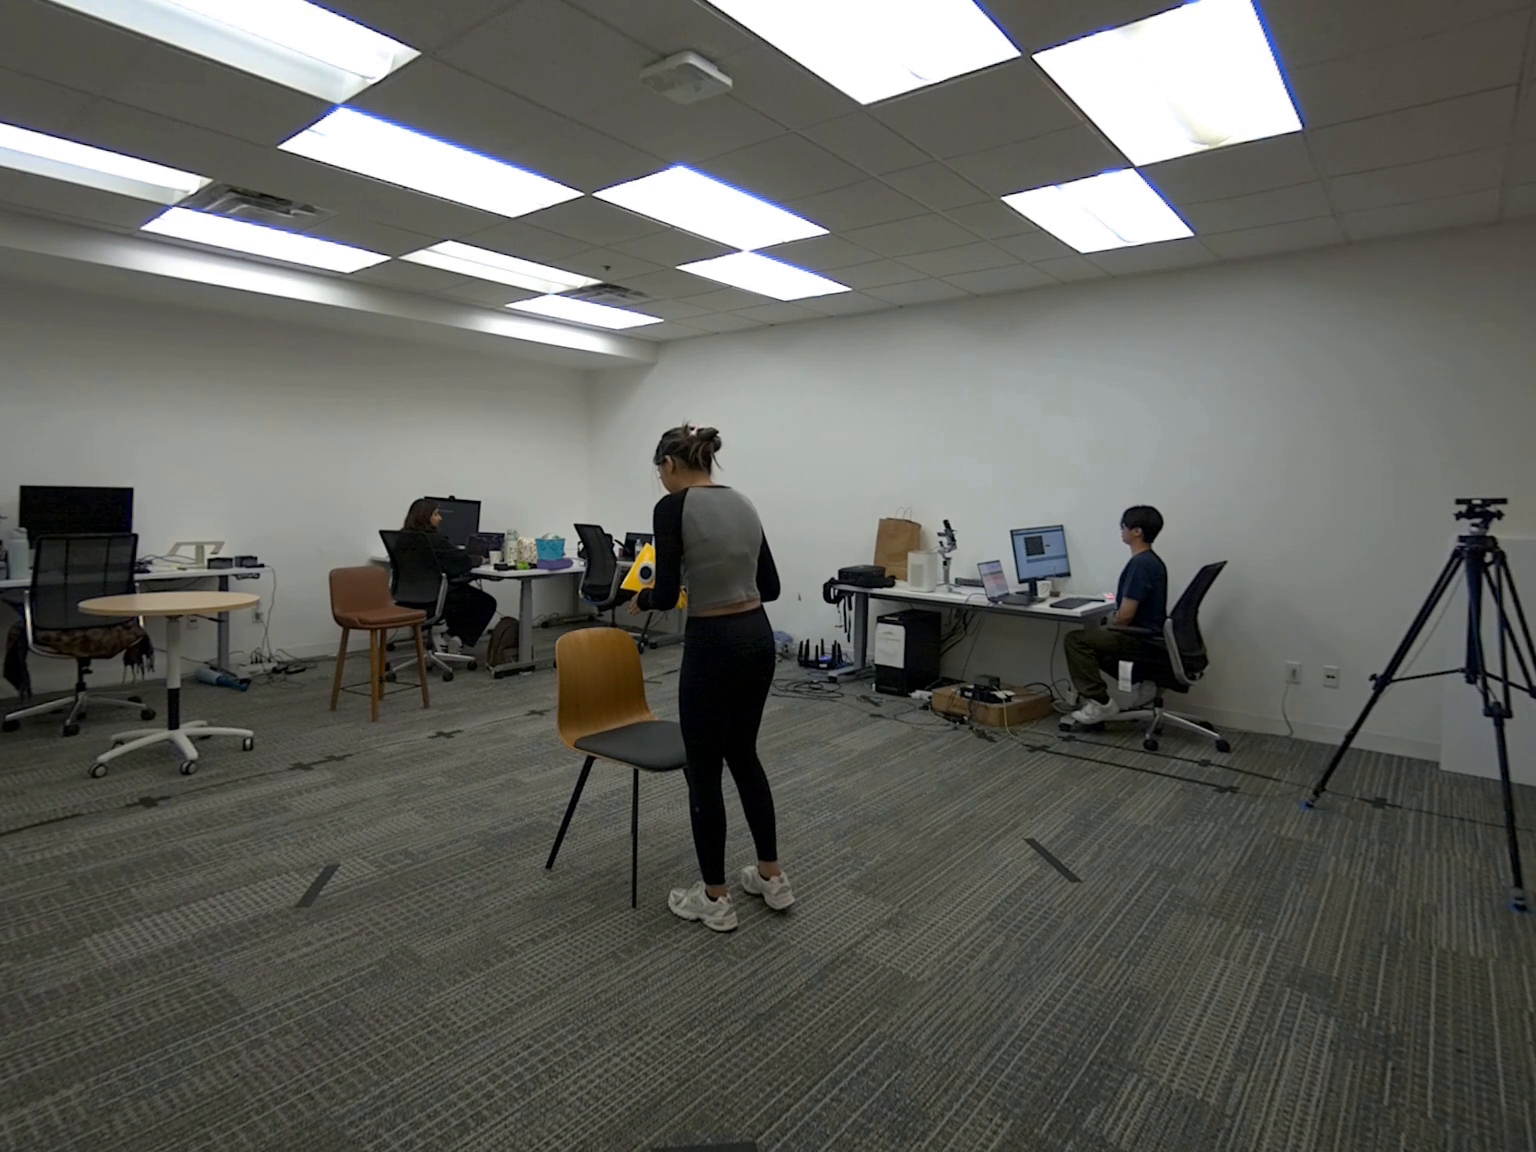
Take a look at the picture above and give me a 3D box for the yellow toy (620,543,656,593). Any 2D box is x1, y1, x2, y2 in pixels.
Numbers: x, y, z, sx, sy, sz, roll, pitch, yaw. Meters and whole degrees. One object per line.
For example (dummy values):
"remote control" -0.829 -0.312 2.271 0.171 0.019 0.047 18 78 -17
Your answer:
"yellow toy" -0.382 -0.002 2.965 0.198 0.231 0.199 -3 0 -43
